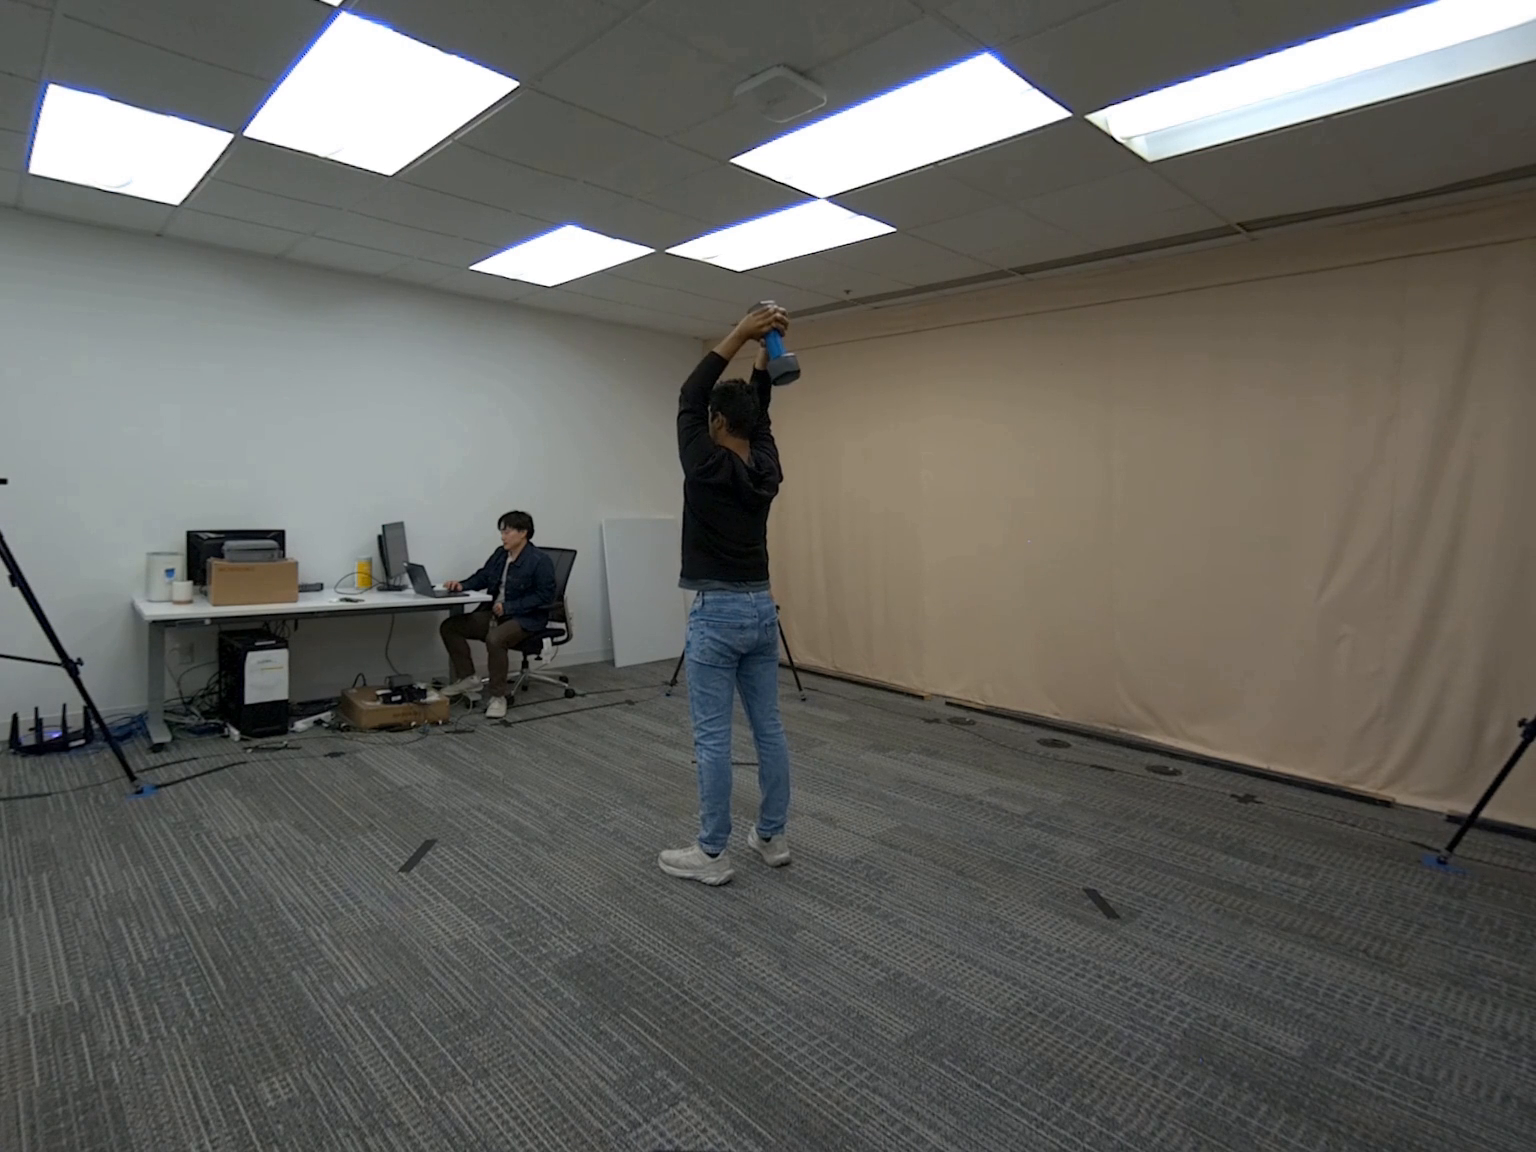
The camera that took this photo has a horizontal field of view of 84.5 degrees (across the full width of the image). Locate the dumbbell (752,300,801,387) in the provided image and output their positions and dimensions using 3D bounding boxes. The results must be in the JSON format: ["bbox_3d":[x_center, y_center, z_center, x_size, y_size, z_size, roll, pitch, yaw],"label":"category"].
[{"bbox_3d":[0.013,-0.820,3.018,0.121,0.296,0.109,-15,-10,-26],"label":"dumbbell"}]
